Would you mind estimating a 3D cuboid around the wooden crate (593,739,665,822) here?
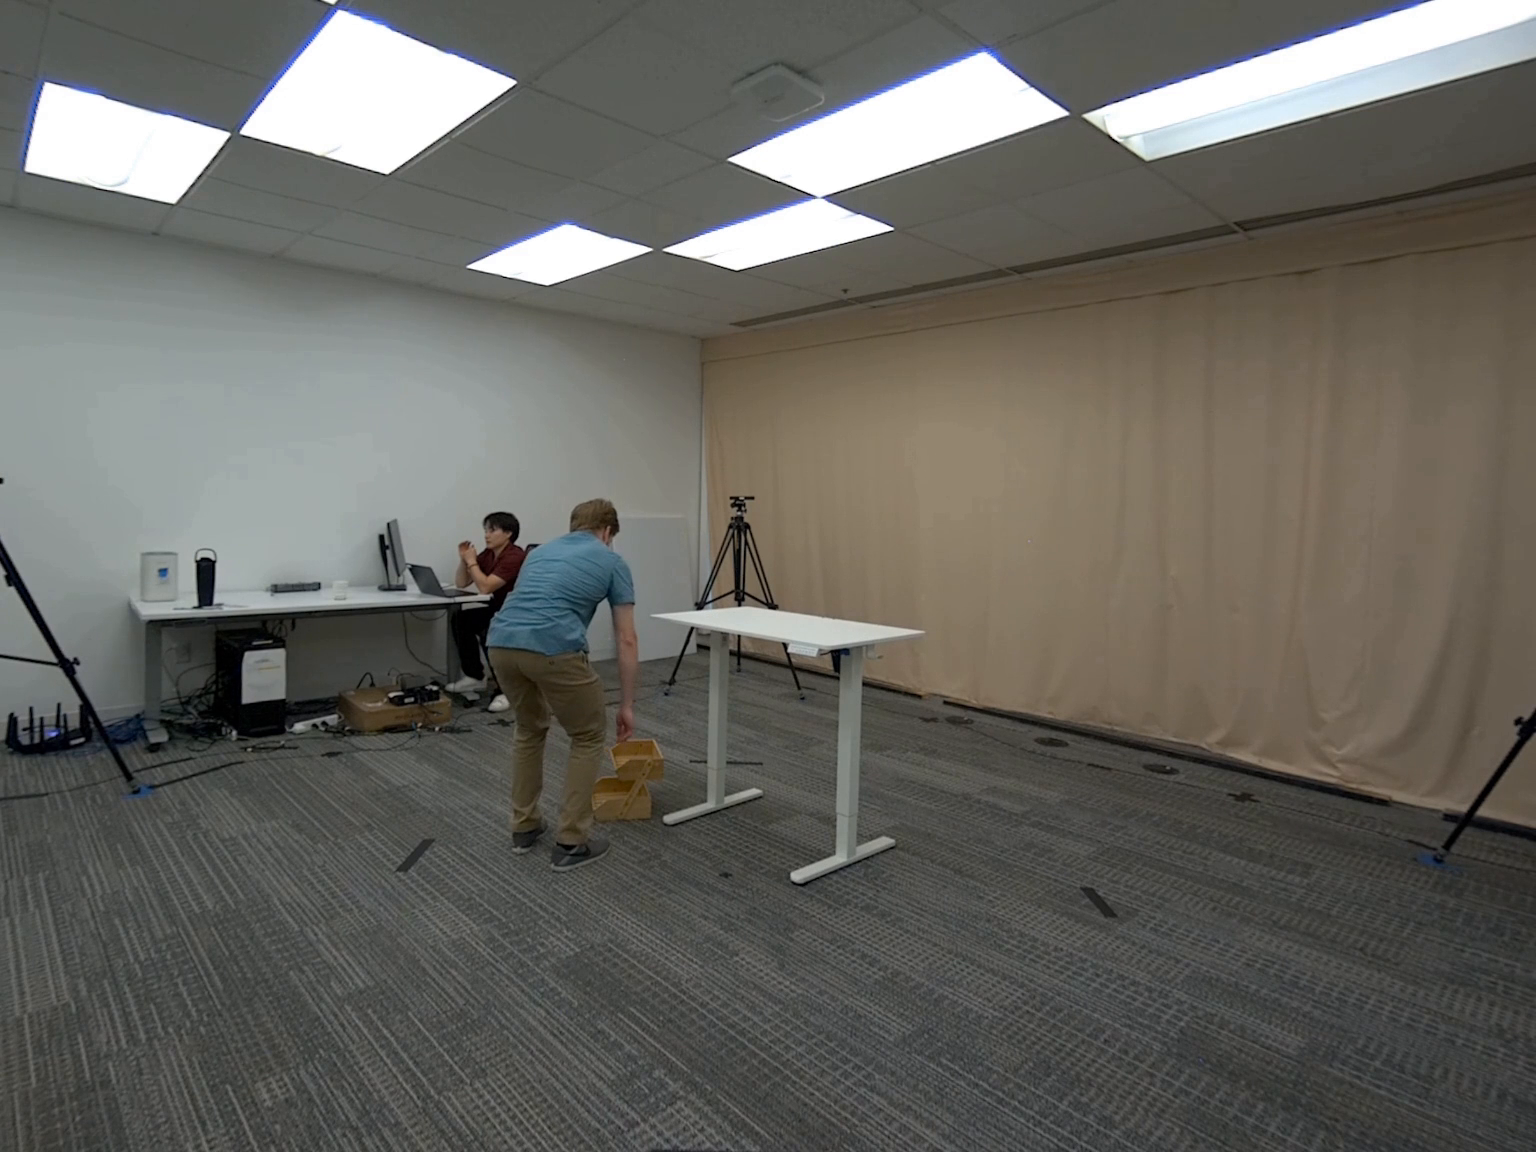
[{"bbox_3d":[-0.652,0.899,3.761,0.298,0.272,0.329,1,4,-16],"label":"wooden crate"}]
